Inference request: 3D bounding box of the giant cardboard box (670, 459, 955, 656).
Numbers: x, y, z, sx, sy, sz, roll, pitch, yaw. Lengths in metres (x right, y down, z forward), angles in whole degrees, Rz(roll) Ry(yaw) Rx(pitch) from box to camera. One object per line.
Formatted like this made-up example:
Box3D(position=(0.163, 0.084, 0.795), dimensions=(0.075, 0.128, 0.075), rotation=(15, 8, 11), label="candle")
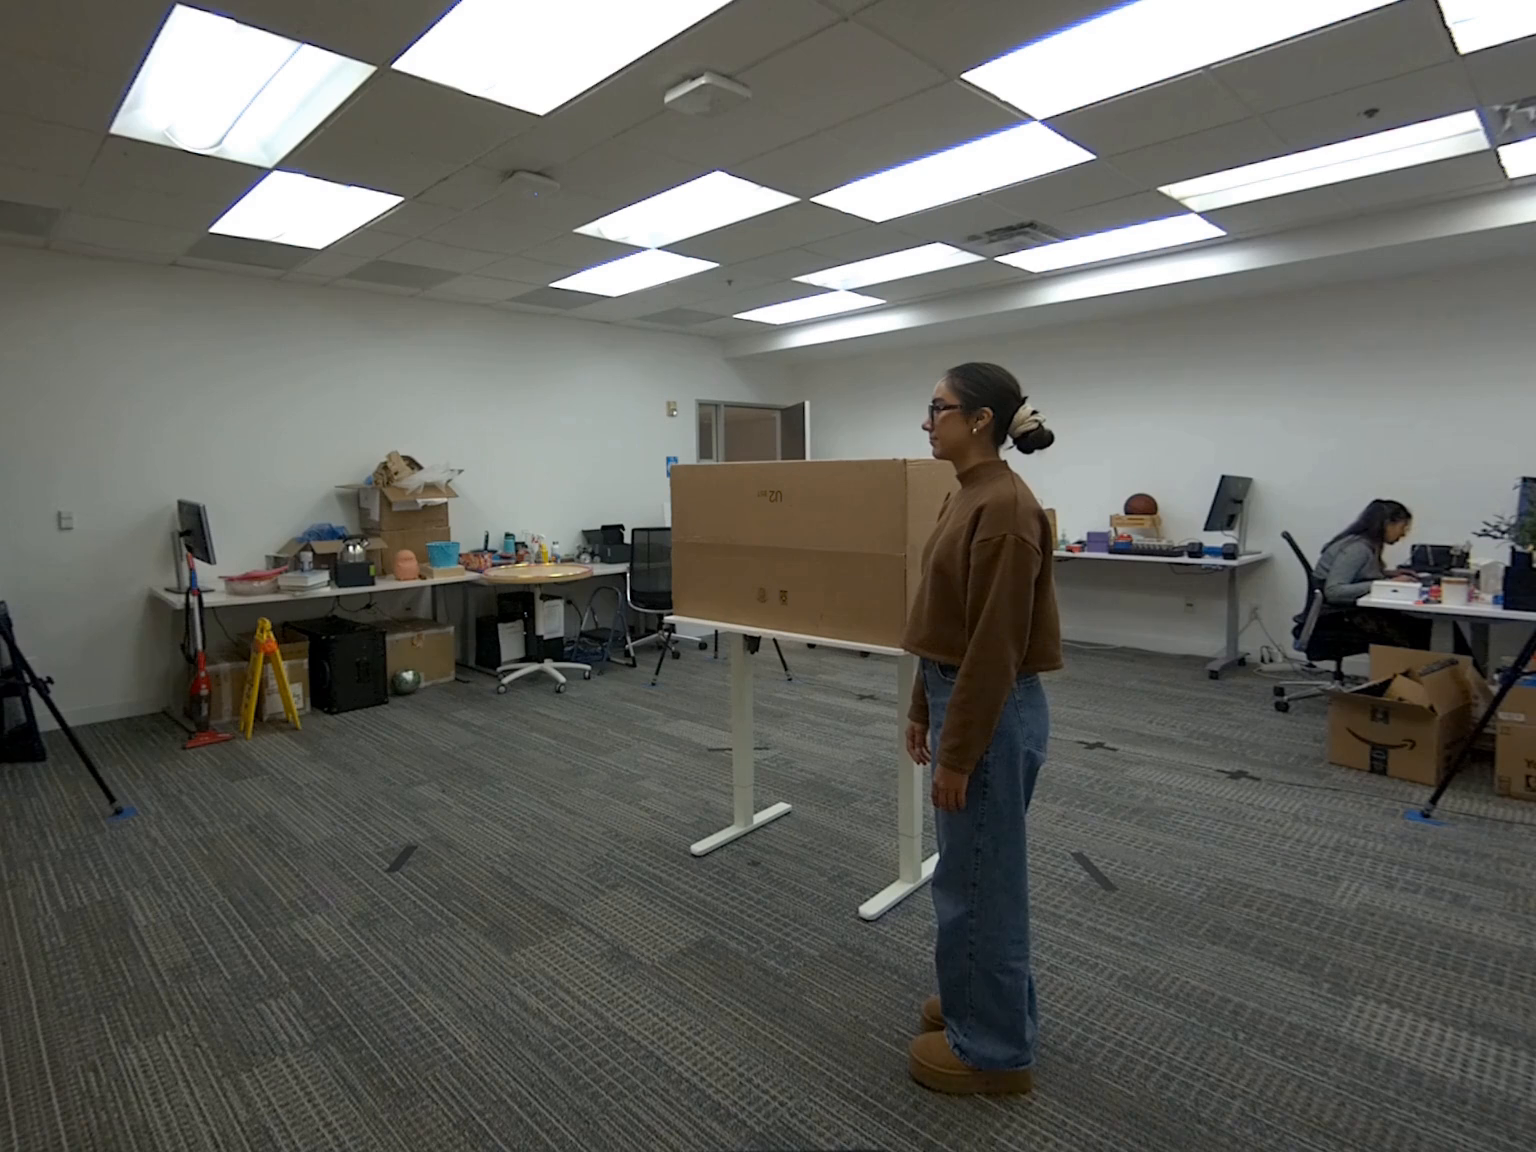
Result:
Box3D(position=(0.164, -0.116, 3.028), dimensions=(1.058, 0.574, 0.415), rotation=(5, 8, 42), label="giant cardboard box")
